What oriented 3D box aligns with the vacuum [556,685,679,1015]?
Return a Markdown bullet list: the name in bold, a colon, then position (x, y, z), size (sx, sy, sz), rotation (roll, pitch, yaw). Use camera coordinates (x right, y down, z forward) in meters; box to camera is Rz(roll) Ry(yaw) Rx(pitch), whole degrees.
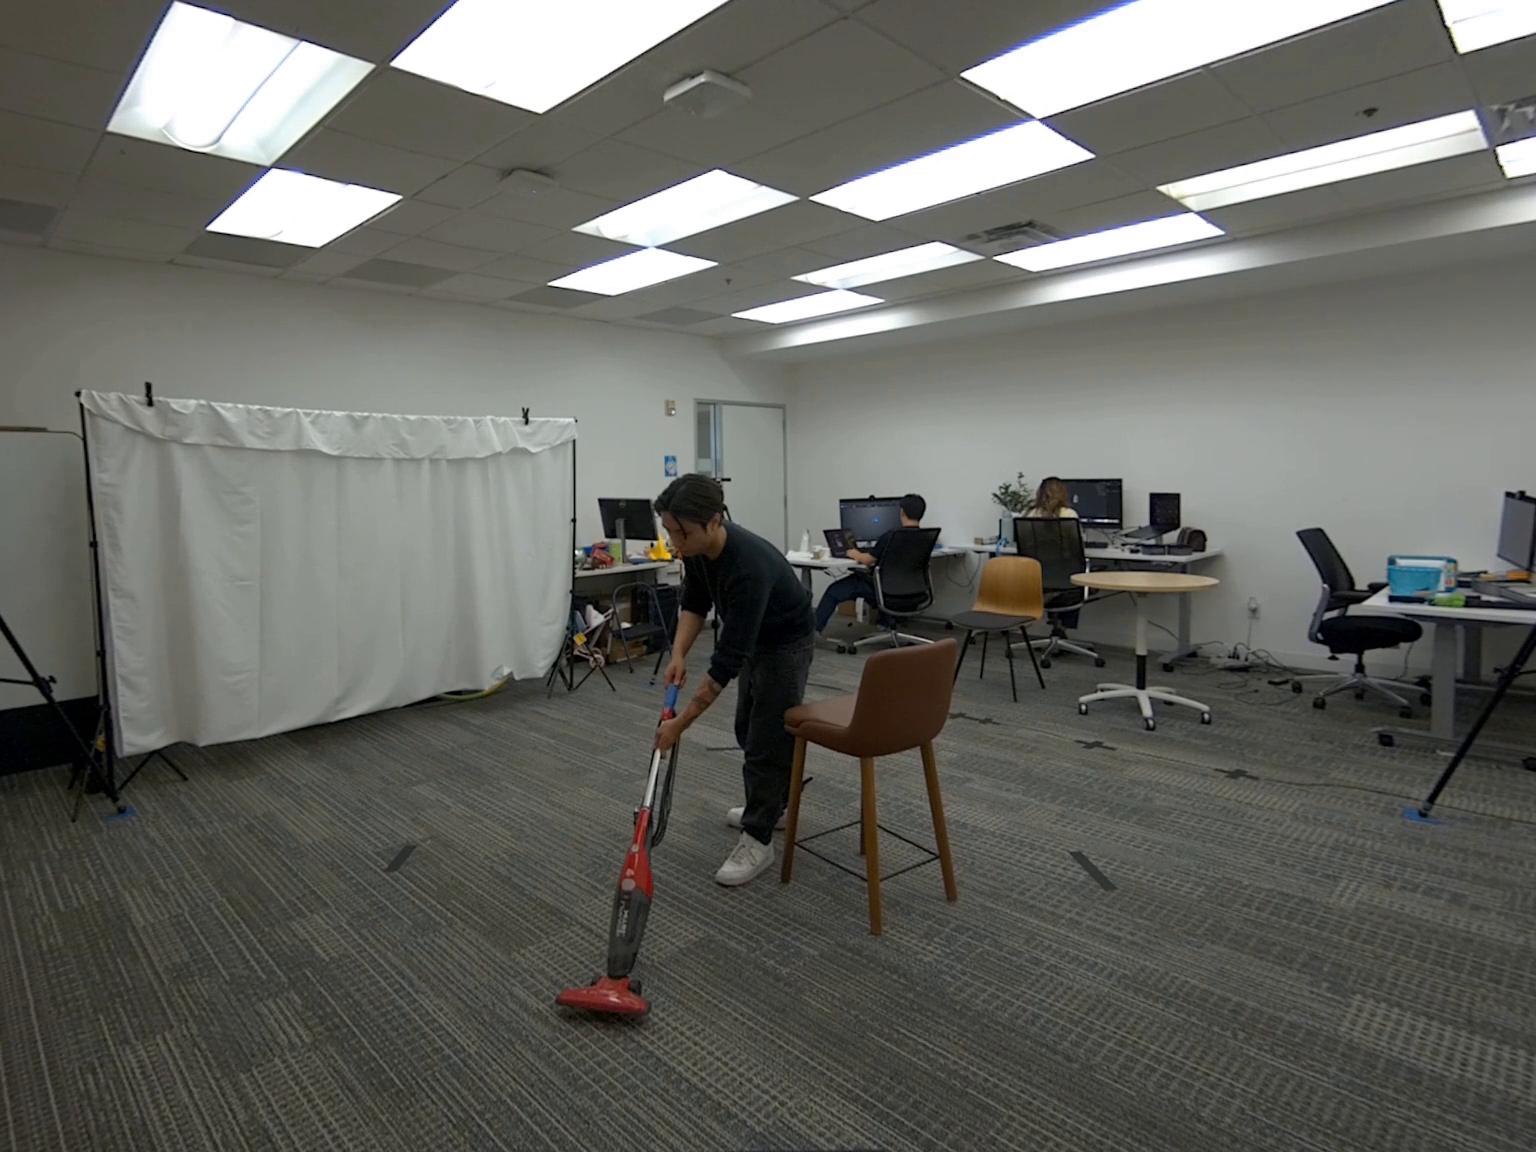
- **vacuum**: position (-0.350, 0.723, 2.617), size (0.256, 1.071, 0.139), rotation (-5, -42, 17)
